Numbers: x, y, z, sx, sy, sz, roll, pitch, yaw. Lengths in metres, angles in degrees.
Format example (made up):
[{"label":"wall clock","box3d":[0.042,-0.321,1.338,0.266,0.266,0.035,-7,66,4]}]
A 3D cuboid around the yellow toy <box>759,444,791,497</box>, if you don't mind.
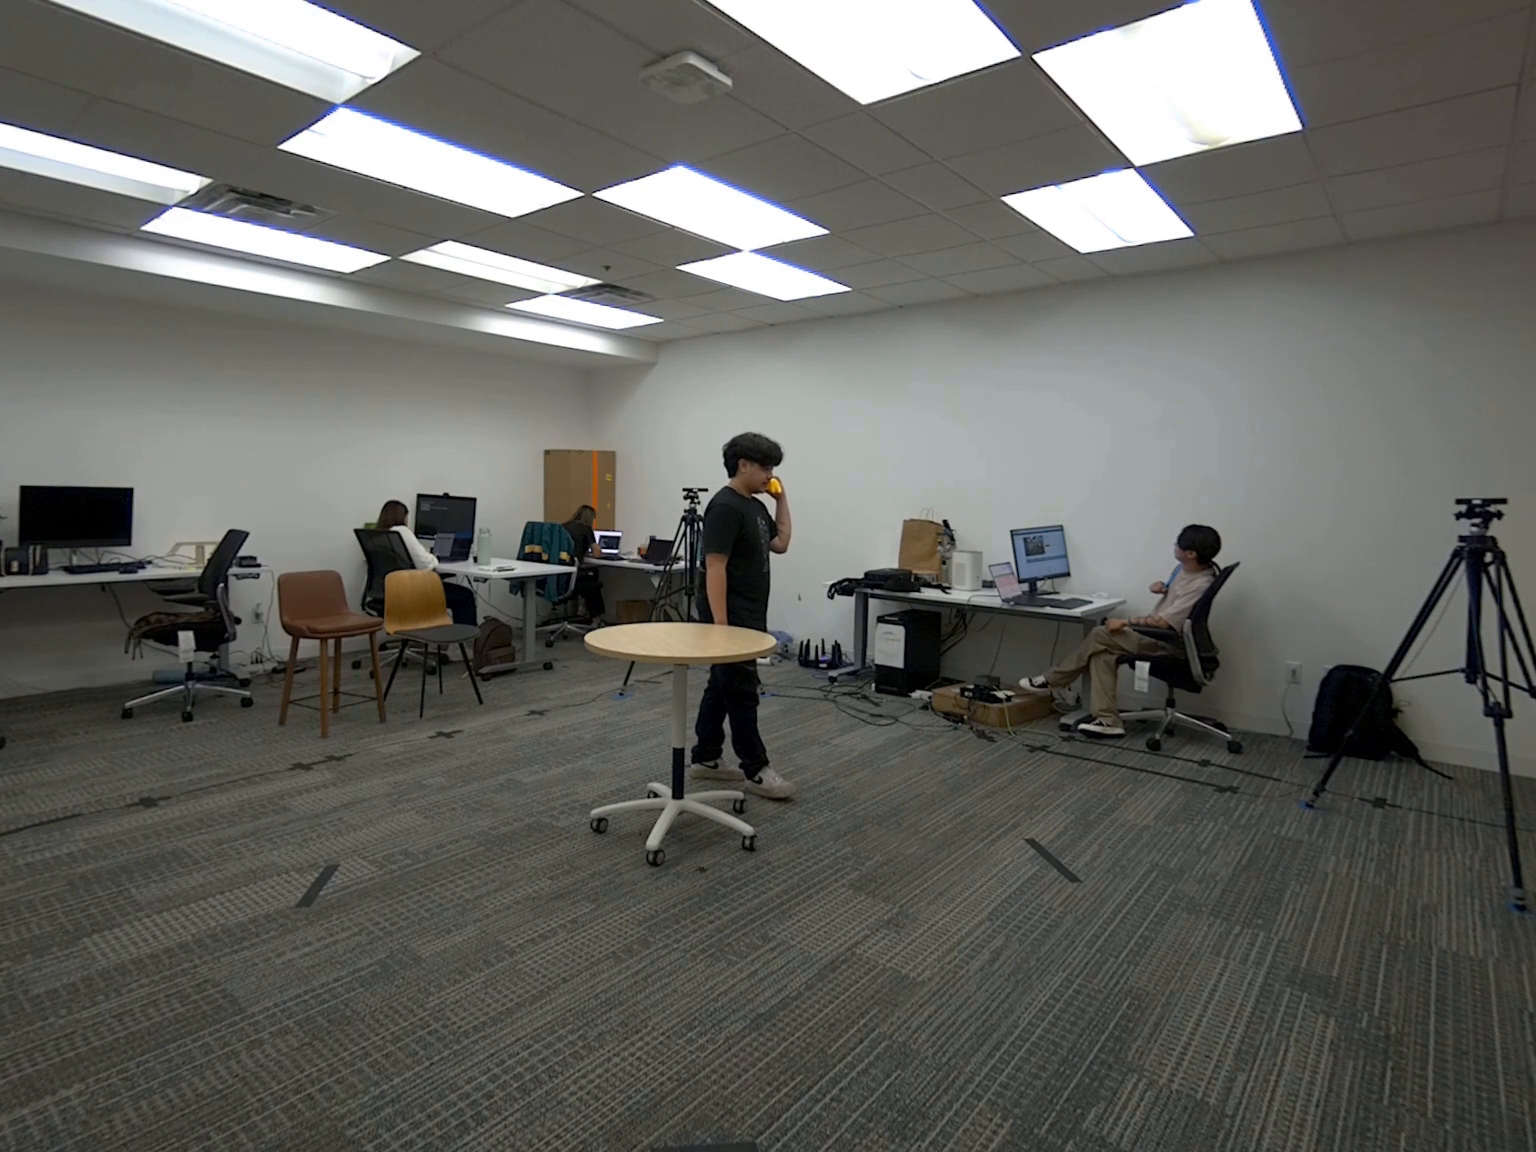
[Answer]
[{"label":"yellow toy","box3d":[-0.039,-0.534,4.142,0.199,0.228,0.201,-8,18,-38]}]
